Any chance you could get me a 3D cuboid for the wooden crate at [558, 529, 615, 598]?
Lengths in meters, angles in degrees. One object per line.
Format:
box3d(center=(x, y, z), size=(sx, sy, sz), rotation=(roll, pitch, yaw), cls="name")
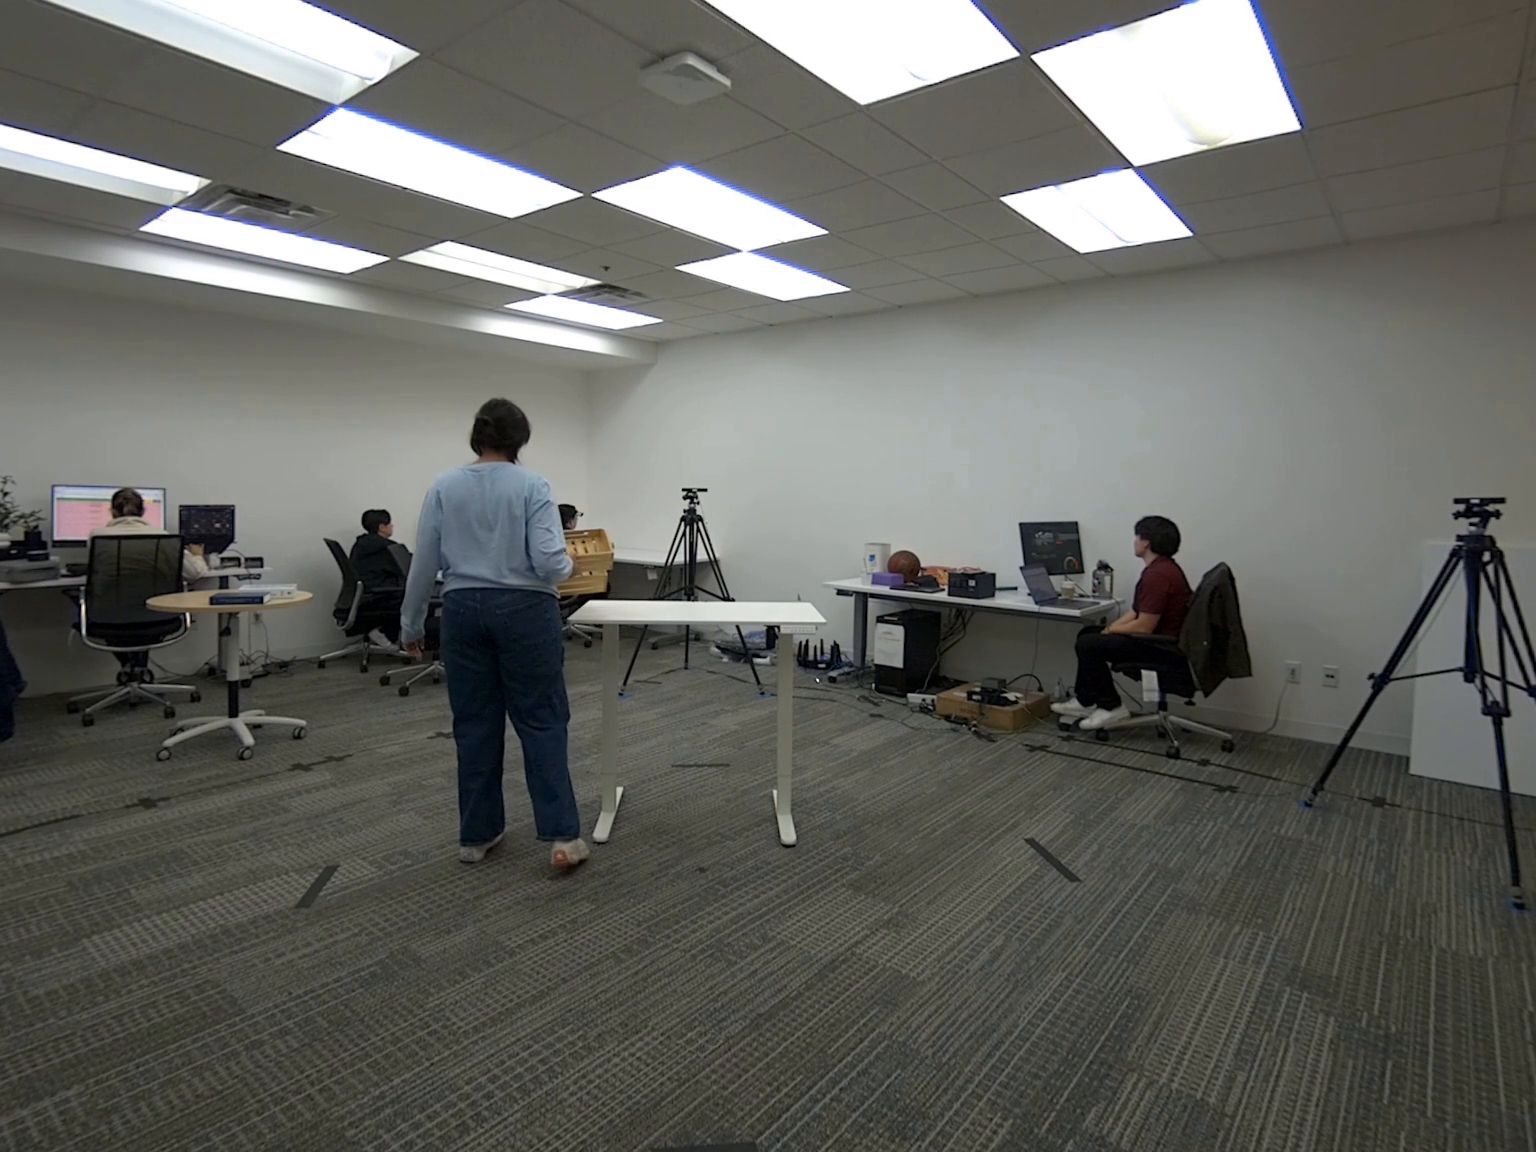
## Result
box3d(center=(-0.829, -0.089, 3.496), size=(0.318, 0.268, 0.314), rotation=(-6, 43, -22), cls="wooden crate")
